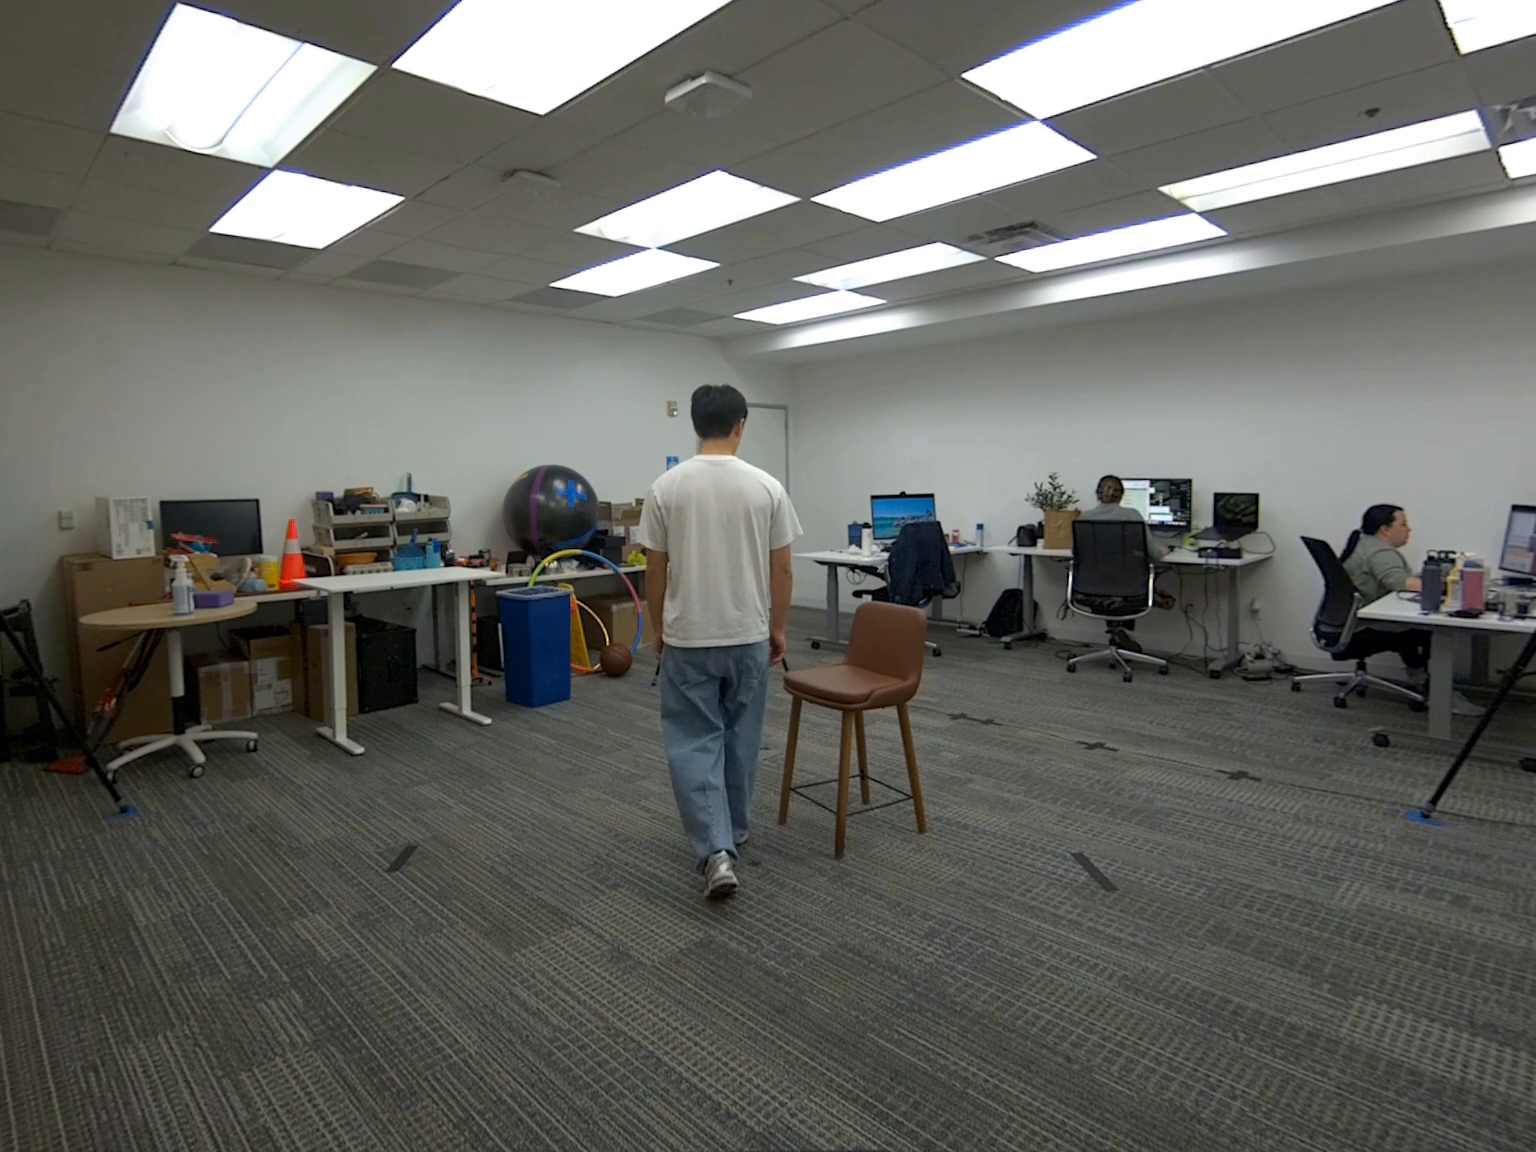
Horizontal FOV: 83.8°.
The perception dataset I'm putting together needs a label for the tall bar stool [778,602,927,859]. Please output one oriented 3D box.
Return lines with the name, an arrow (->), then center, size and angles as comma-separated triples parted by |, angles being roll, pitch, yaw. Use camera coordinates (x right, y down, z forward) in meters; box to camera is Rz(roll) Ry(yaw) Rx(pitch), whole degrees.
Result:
tall bar stool -> 0.336, 0.569, 3.391 | 0.456, 0.888, 0.469 | -1, 3, -32
